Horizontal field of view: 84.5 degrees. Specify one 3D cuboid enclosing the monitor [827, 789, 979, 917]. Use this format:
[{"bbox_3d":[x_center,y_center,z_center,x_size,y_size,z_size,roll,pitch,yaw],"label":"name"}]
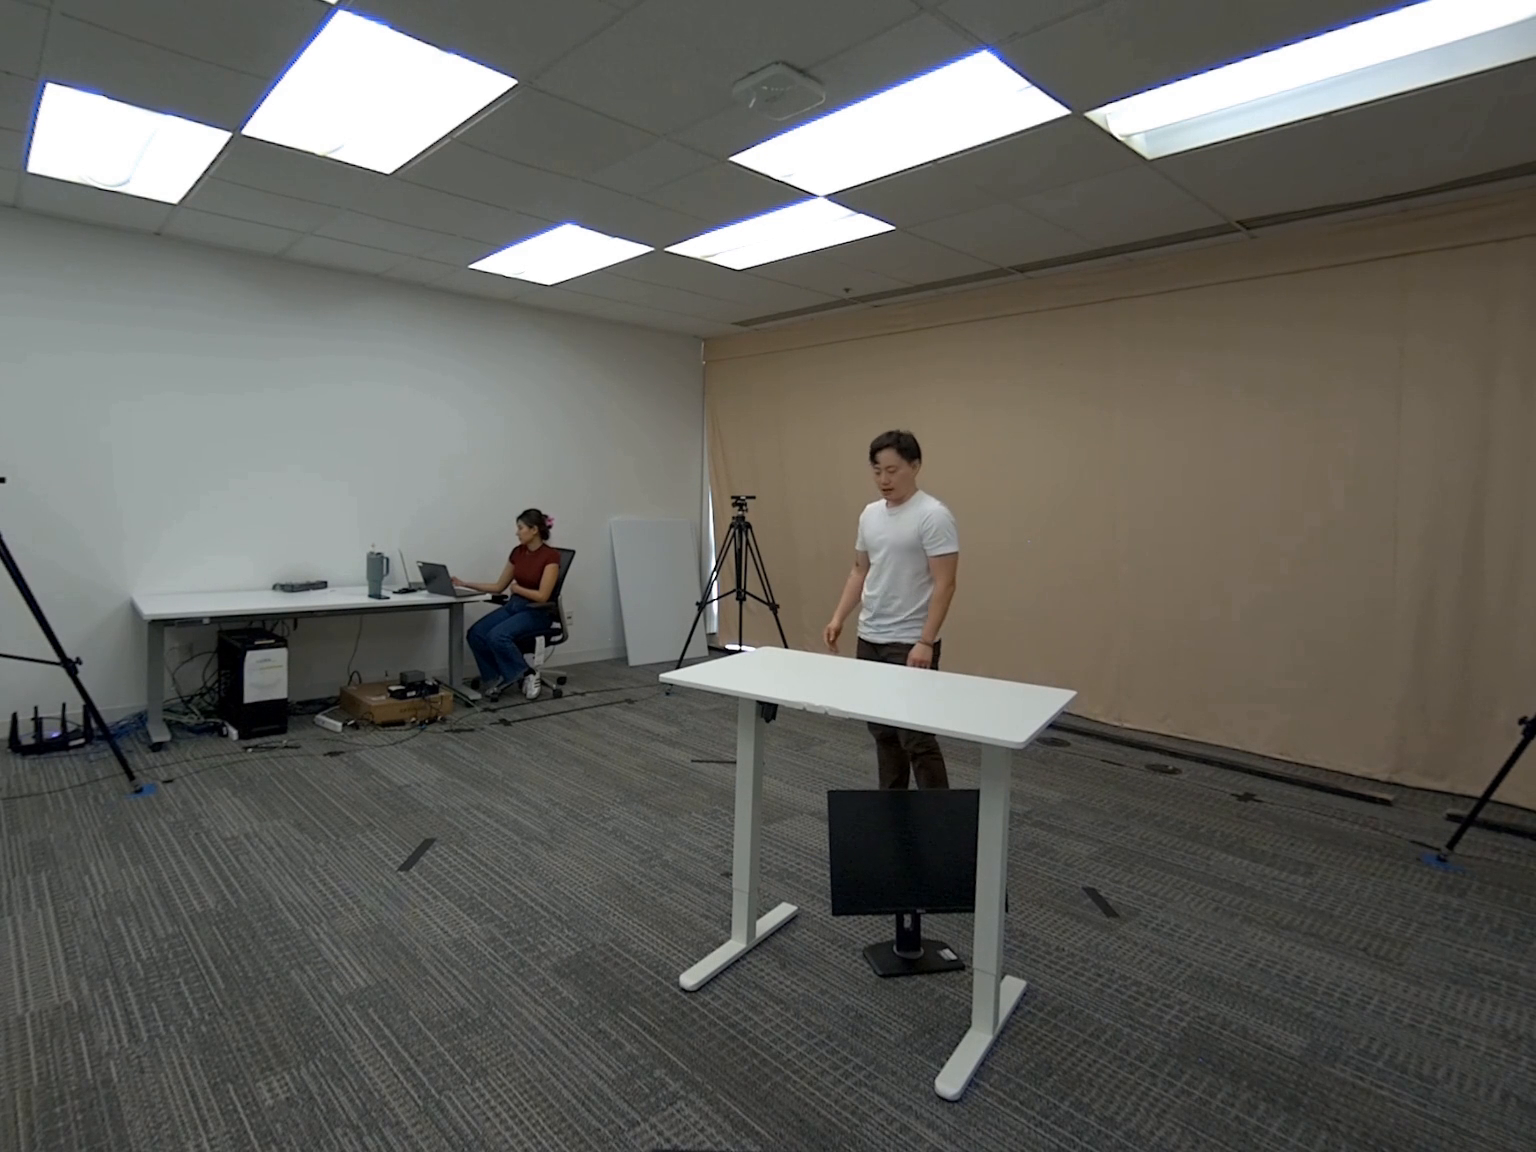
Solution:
[{"bbox_3d":[0.435,0.913,2.553,0.535,0.522,0.188,0,1,-9],"label":"monitor"}]
